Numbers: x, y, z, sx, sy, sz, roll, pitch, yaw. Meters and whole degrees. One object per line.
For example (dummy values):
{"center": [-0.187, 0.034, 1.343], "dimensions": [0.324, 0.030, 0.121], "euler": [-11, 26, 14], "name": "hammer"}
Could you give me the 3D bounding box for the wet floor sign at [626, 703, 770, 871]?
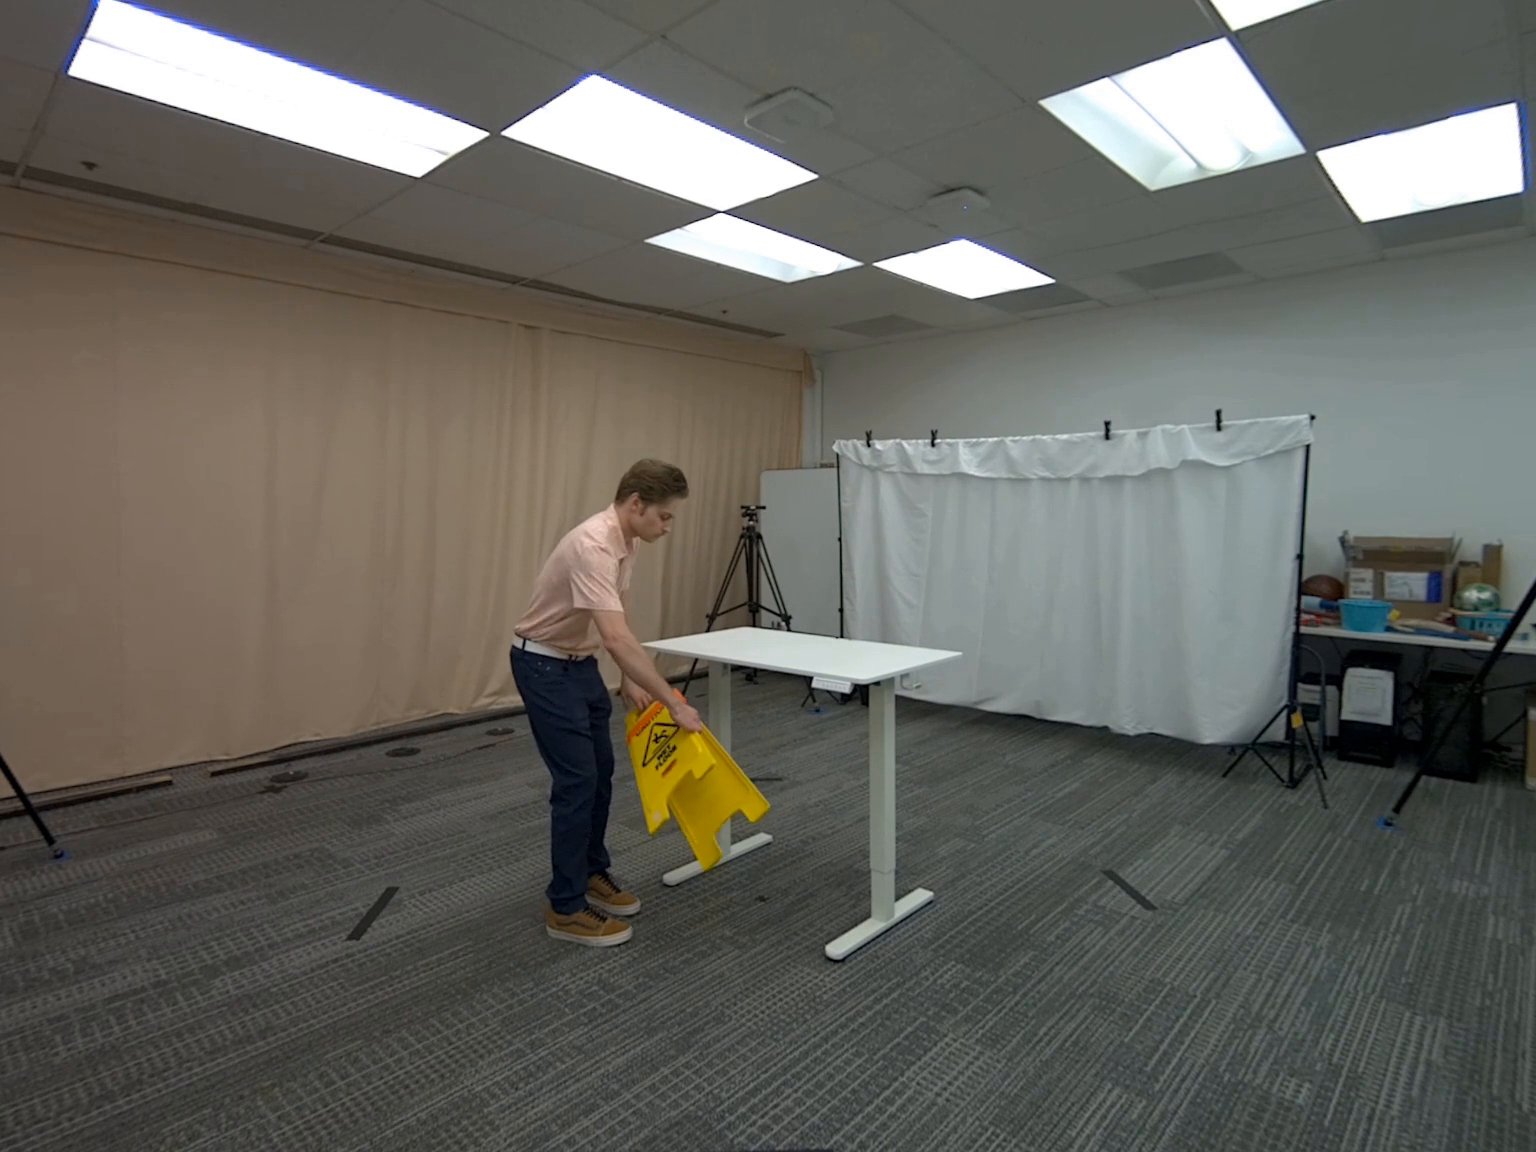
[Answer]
{"center": [-0.294, 0.575, 2.707], "dimensions": [0.280, 0.282, 0.668], "euler": [44, 1, -36], "name": "wet floor sign"}
